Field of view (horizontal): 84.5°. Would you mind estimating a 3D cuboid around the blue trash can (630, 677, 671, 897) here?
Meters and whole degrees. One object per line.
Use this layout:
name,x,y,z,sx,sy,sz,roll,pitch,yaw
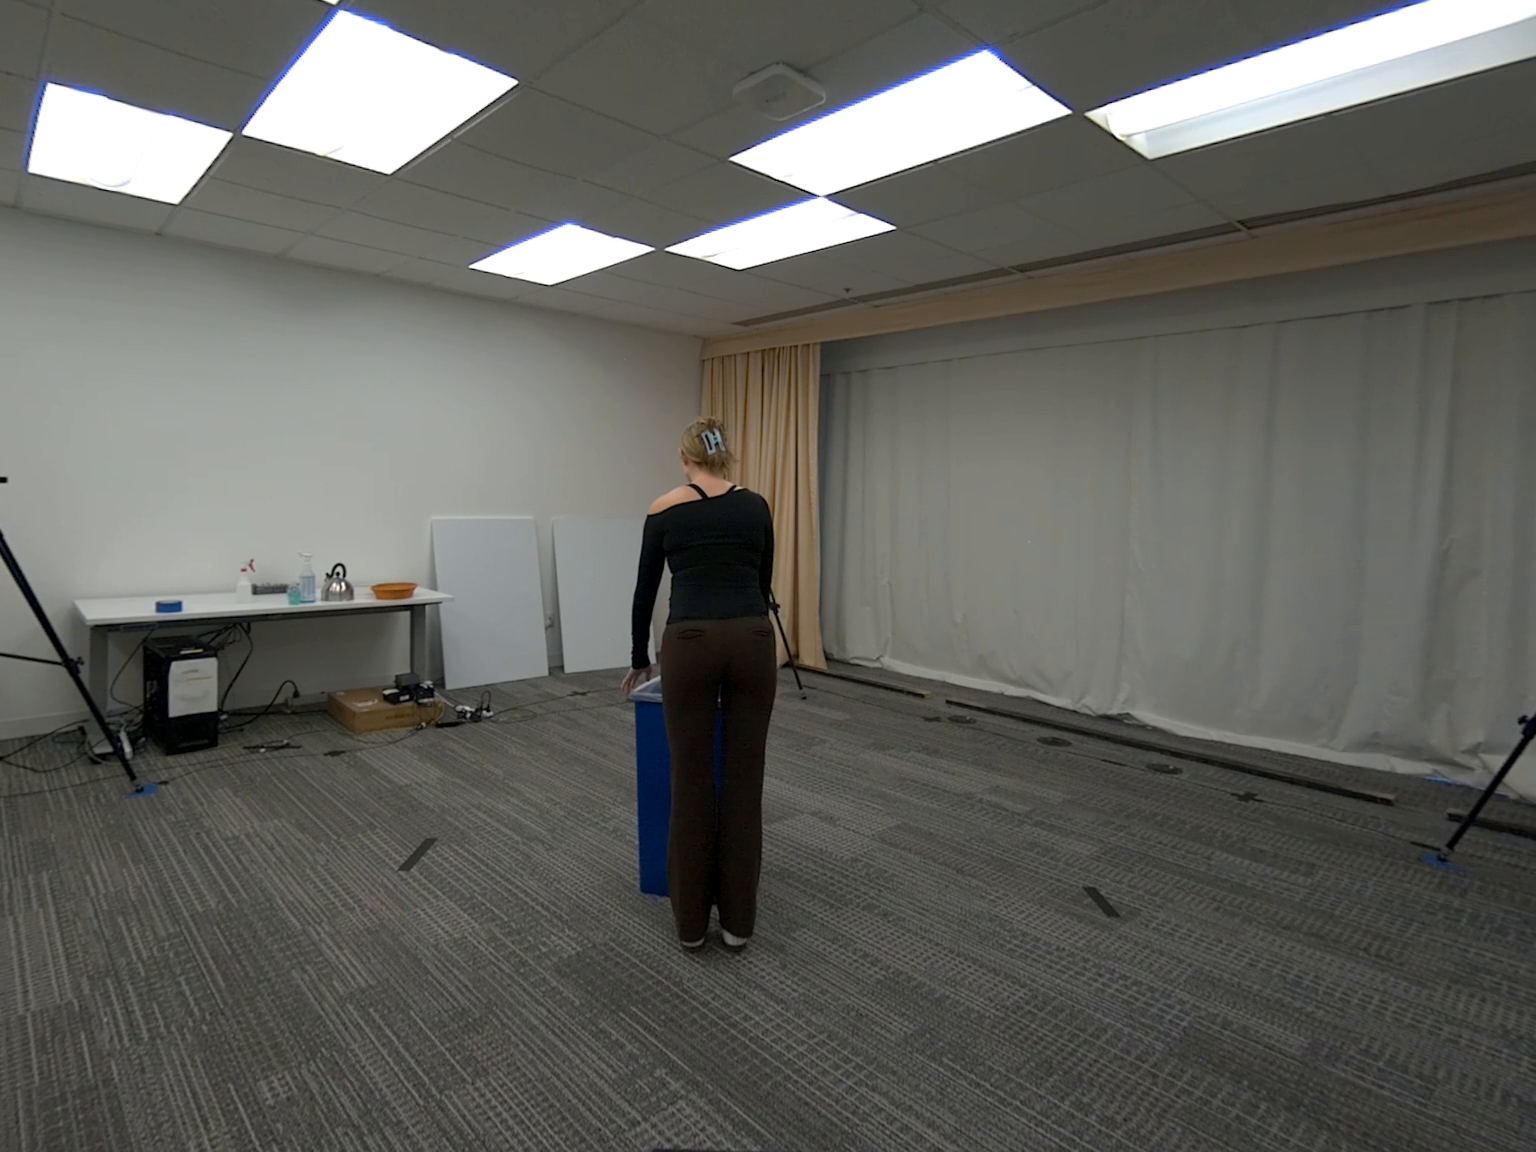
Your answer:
blue trash can,-0.277,0.749,3.028,0.379,0.712,0.374,3,3,14
